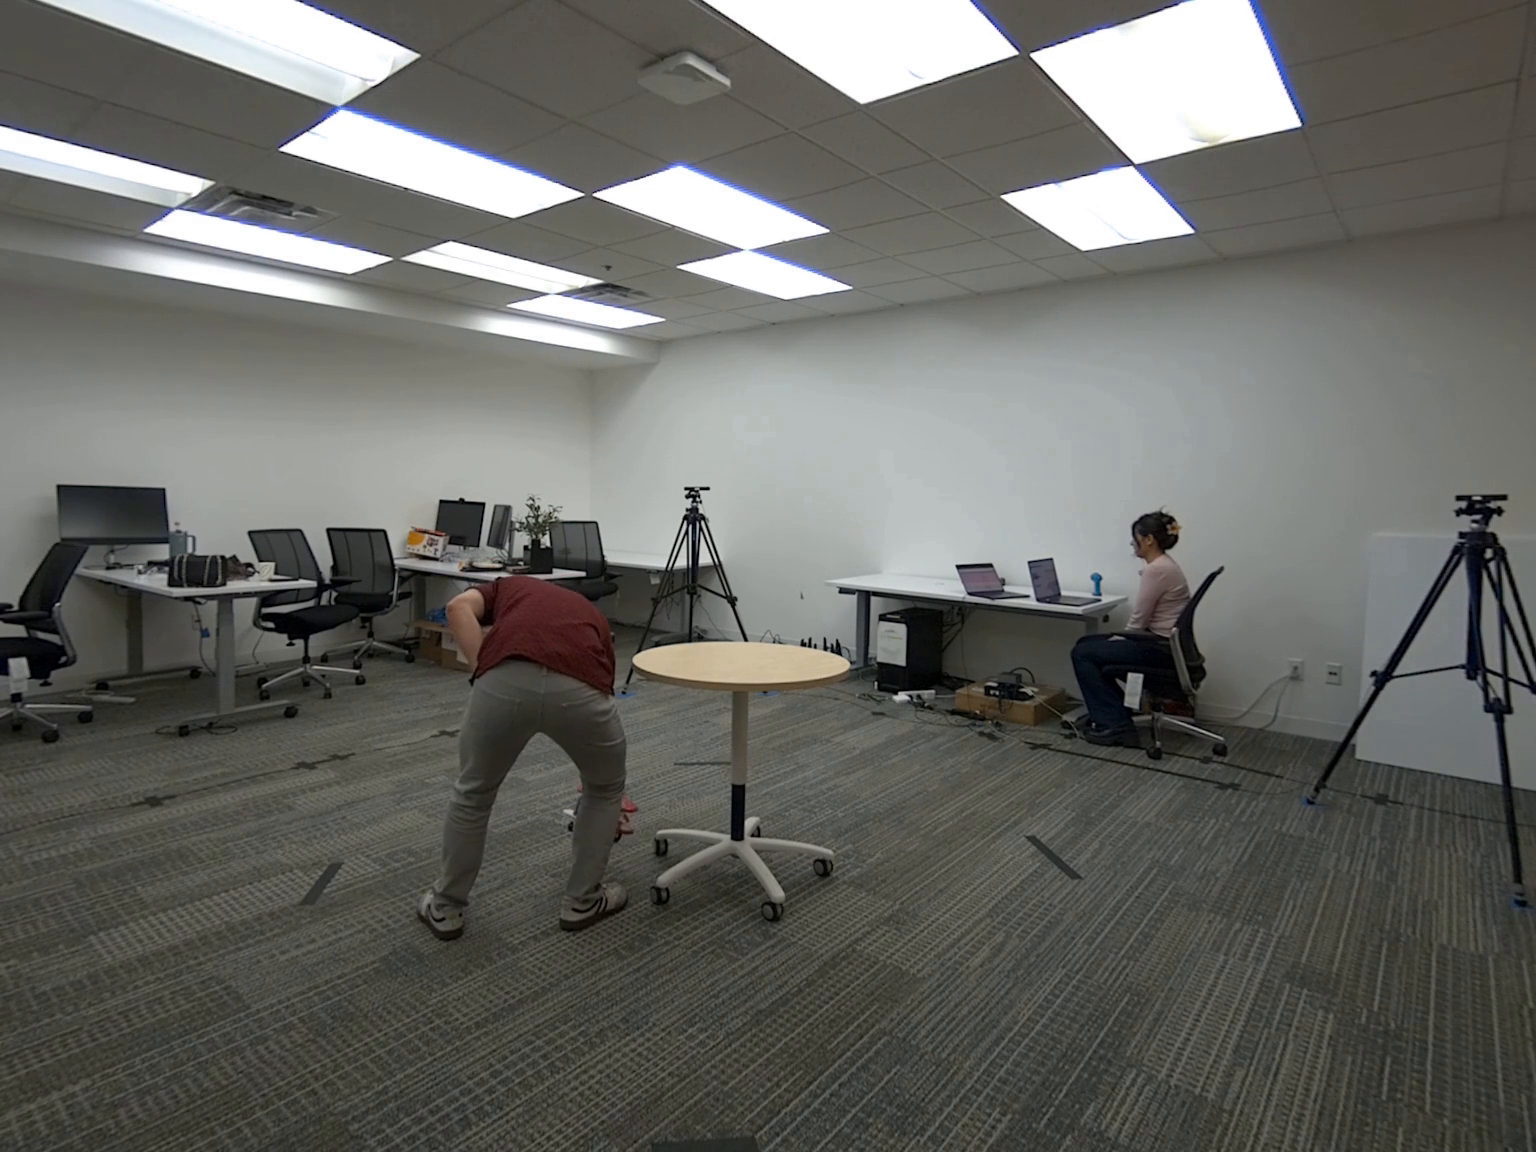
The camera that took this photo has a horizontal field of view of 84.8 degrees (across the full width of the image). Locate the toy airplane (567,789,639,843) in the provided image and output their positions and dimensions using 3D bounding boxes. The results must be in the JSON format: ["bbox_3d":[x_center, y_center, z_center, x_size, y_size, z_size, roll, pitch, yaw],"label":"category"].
[{"bbox_3d":[-0.596,0.848,3.022,0.253,0.158,0.255,19,-14,4],"label":"toy airplane"}]
